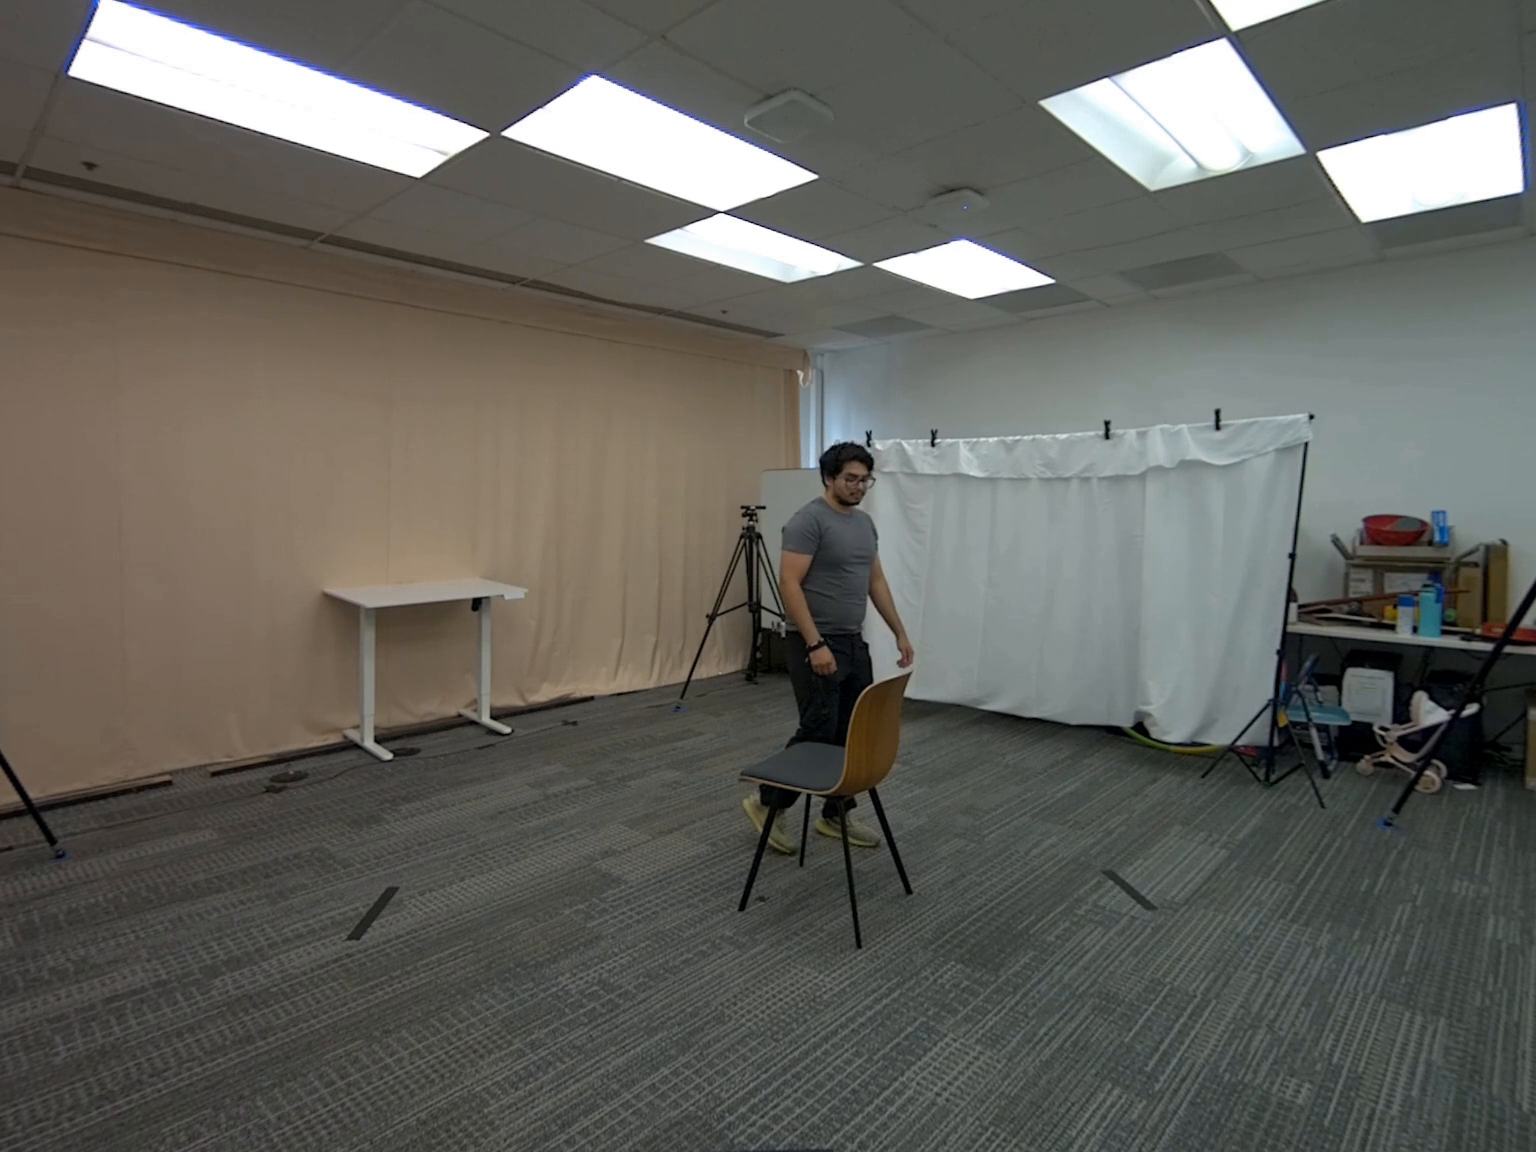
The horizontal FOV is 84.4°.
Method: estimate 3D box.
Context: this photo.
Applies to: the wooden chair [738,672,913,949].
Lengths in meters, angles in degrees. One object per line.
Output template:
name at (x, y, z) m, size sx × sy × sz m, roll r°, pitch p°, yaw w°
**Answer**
wooden chair at (0.199, 0.717, 2.928) m, size 0.539 × 0.874 × 0.465 m, roll 7°, pitch 7°, yaw 32°
